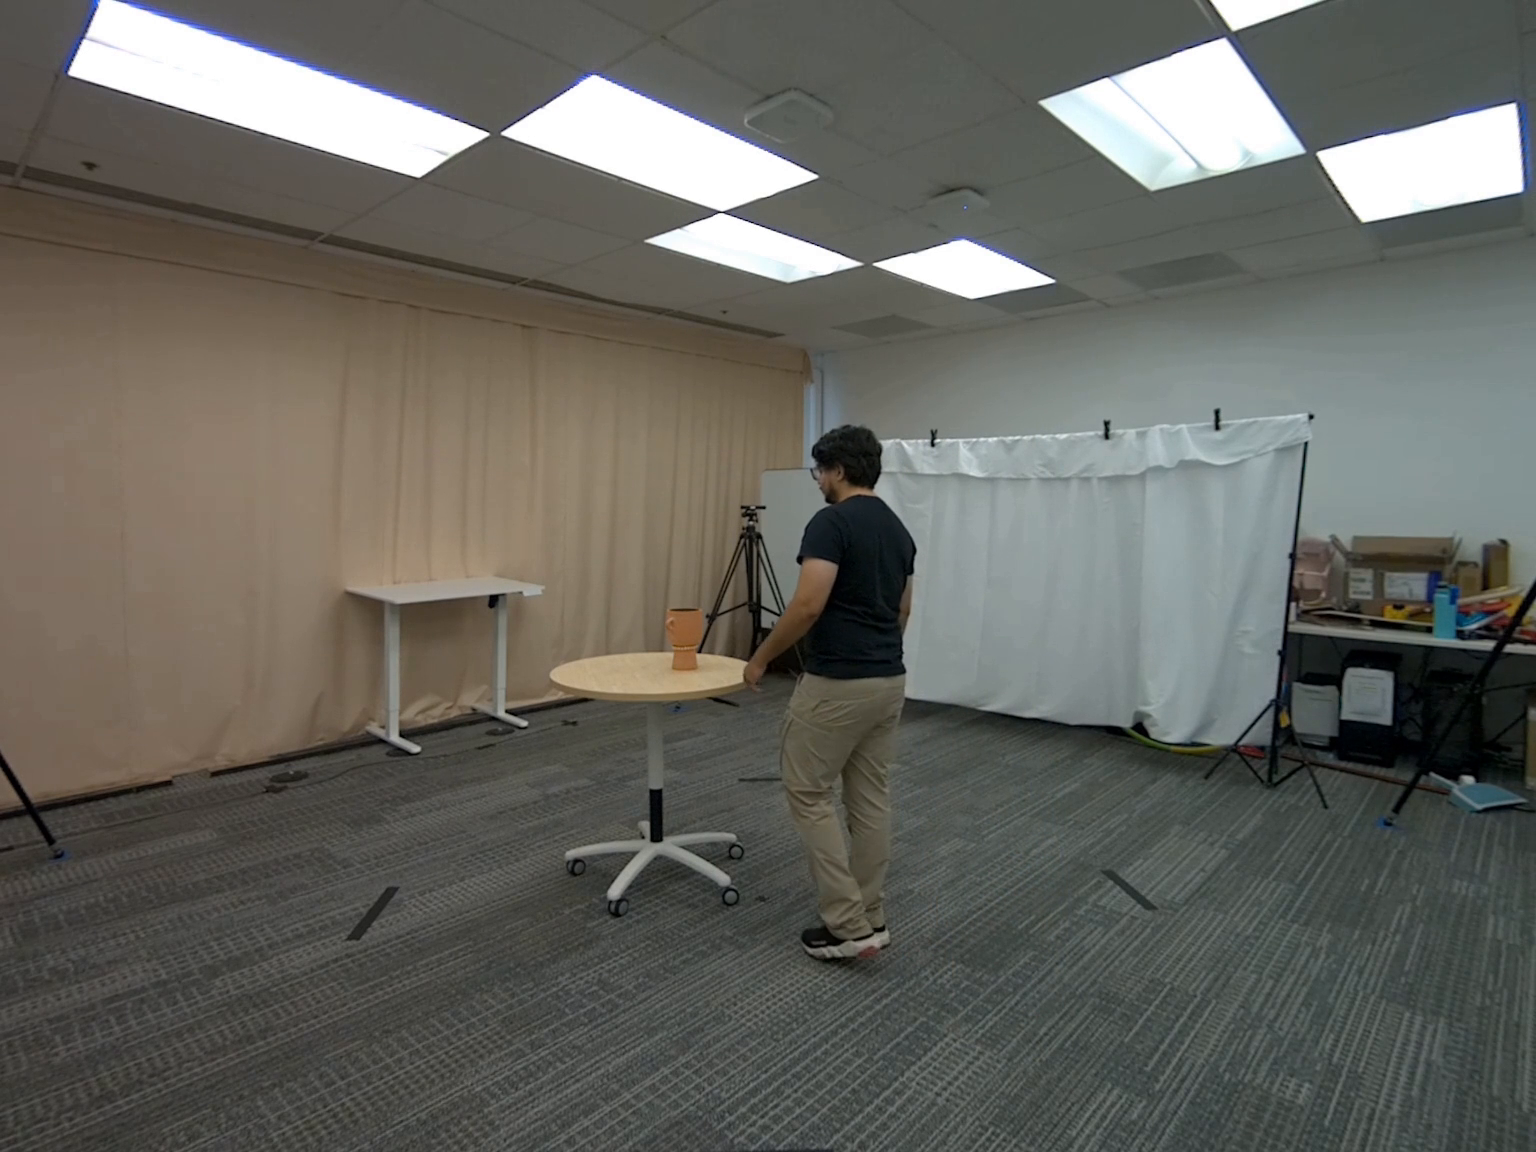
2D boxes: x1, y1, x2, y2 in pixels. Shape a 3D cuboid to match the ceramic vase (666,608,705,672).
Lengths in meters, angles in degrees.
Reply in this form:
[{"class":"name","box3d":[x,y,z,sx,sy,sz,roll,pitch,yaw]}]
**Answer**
[{"class":"ceramic vase","box3d":[-0.316,0.238,3.168,0.157,0.219,0.137,0,3,-13]}]
